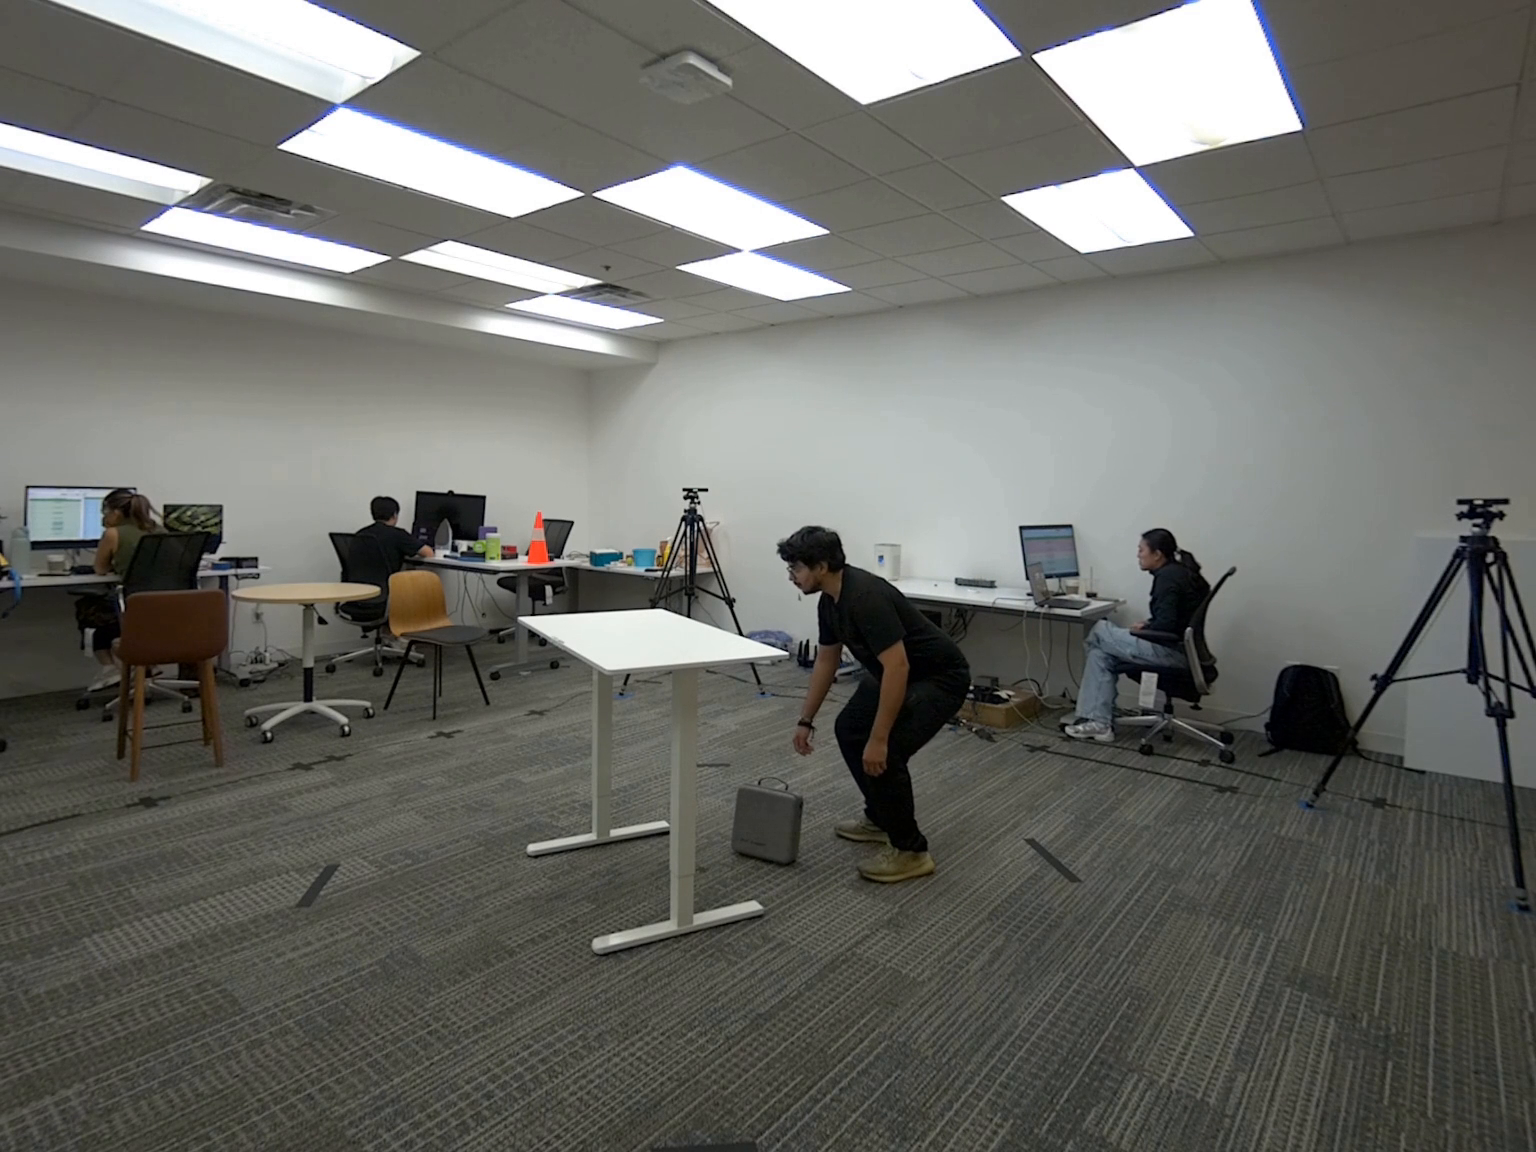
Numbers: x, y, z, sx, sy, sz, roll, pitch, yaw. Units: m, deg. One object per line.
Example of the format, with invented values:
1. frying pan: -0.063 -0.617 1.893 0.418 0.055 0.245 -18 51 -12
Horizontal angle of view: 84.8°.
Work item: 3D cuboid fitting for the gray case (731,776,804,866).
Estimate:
1. gray case: -0.014 0.929 3.239 0.264 0.262 0.101 3 -8 30
